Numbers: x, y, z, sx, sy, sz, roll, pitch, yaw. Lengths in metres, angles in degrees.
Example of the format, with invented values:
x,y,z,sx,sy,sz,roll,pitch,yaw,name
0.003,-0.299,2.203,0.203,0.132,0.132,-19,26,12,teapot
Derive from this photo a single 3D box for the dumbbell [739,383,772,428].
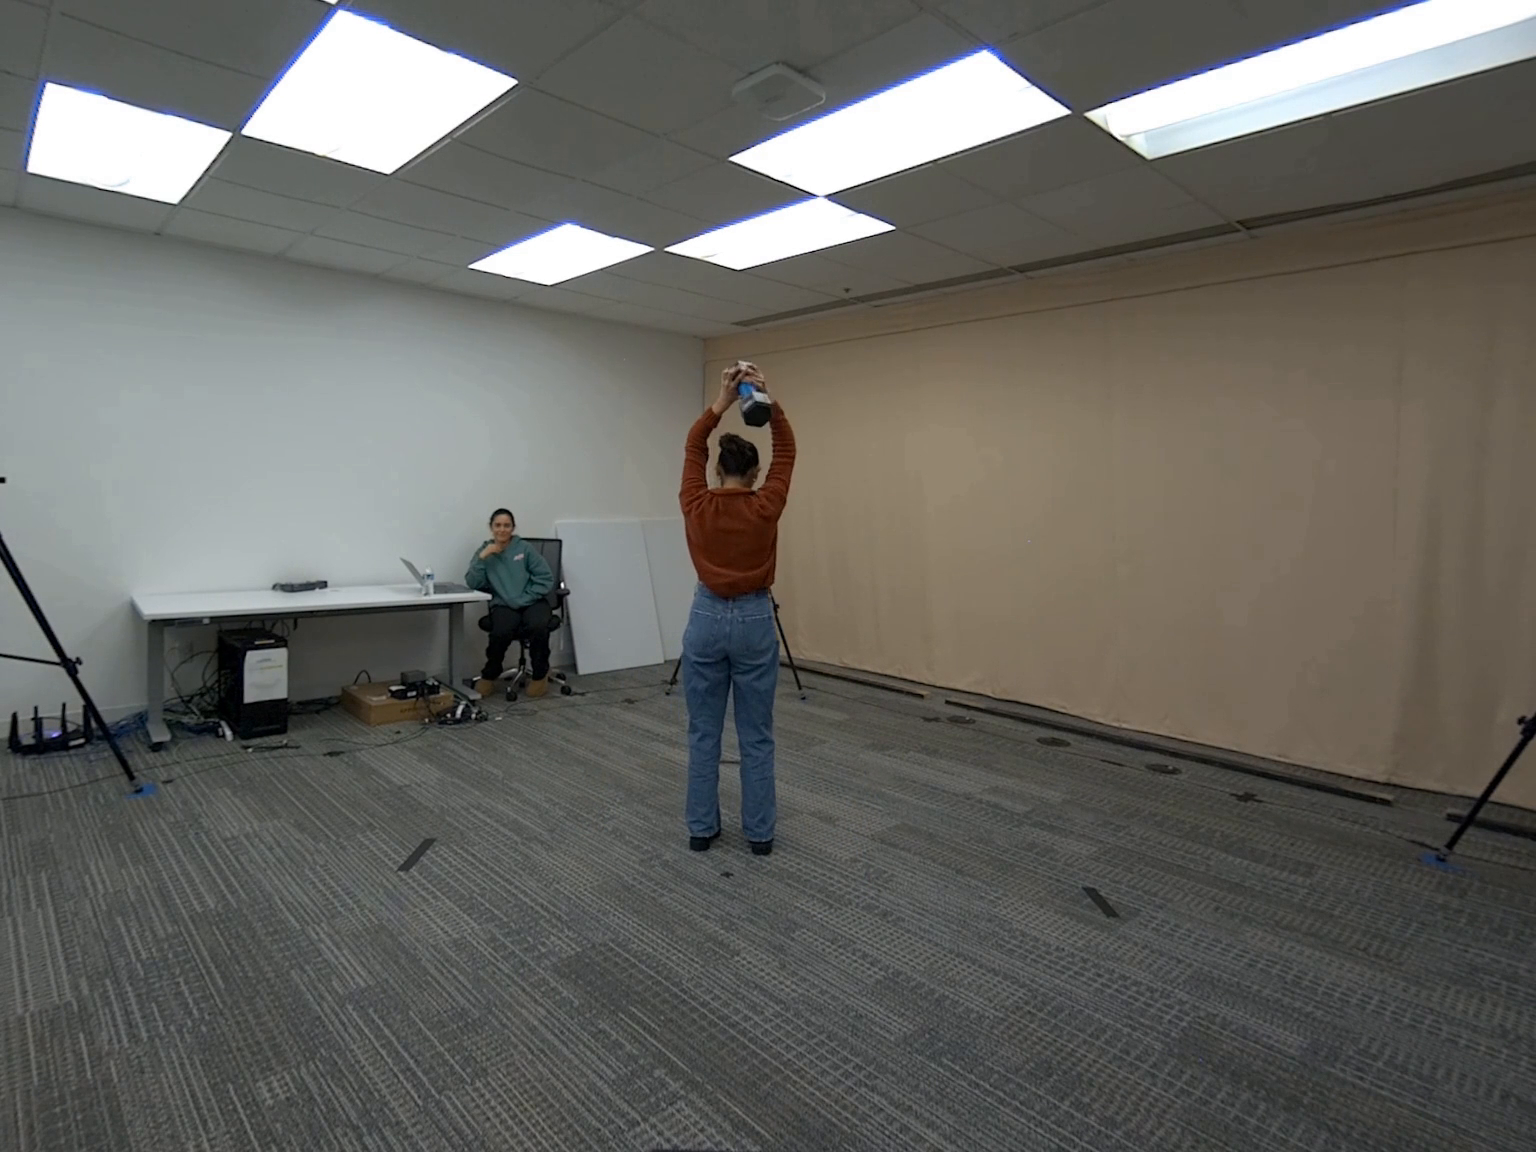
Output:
x,y,z,sx,sy,sz,roll,pitch,yaw,name
-0.071,-0.667,3.112,0.109,0.119,0.302,-16,45,-1,dumbbell
